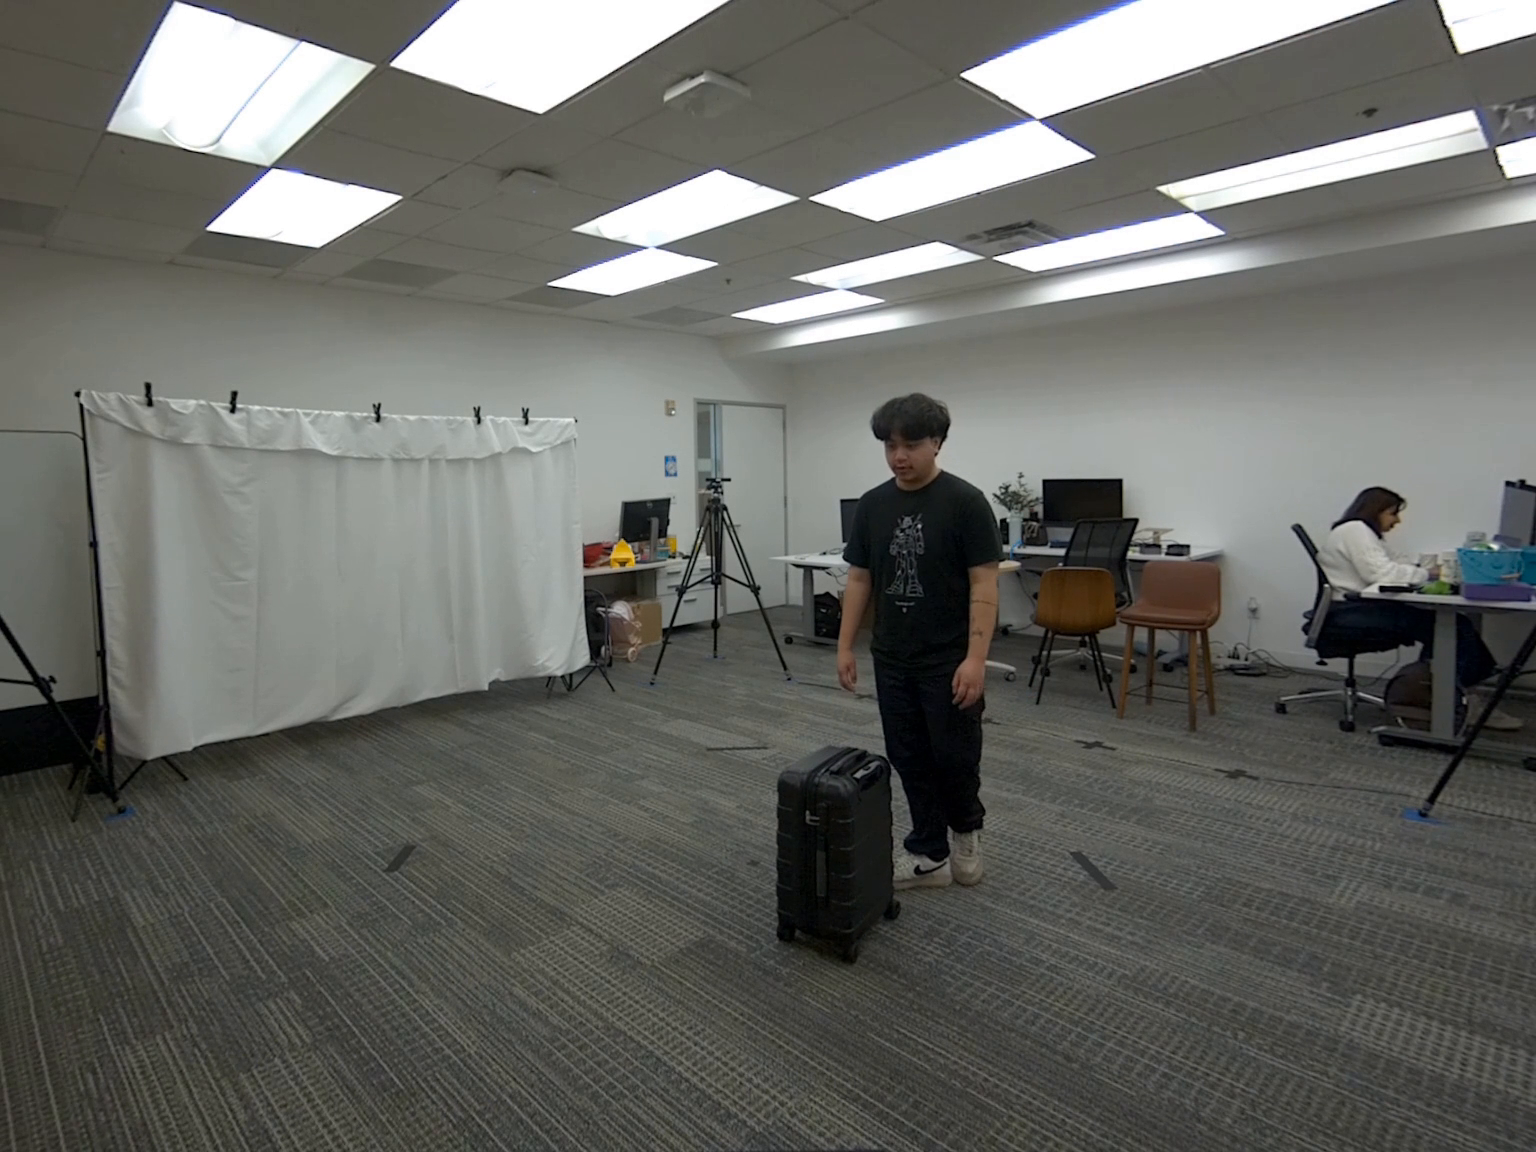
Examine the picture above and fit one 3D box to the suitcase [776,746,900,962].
[{"bbox_3d":[0.214,0.821,2.609,0.255,0.546,0.367,2,7,32],"label":"suitcase"}]
